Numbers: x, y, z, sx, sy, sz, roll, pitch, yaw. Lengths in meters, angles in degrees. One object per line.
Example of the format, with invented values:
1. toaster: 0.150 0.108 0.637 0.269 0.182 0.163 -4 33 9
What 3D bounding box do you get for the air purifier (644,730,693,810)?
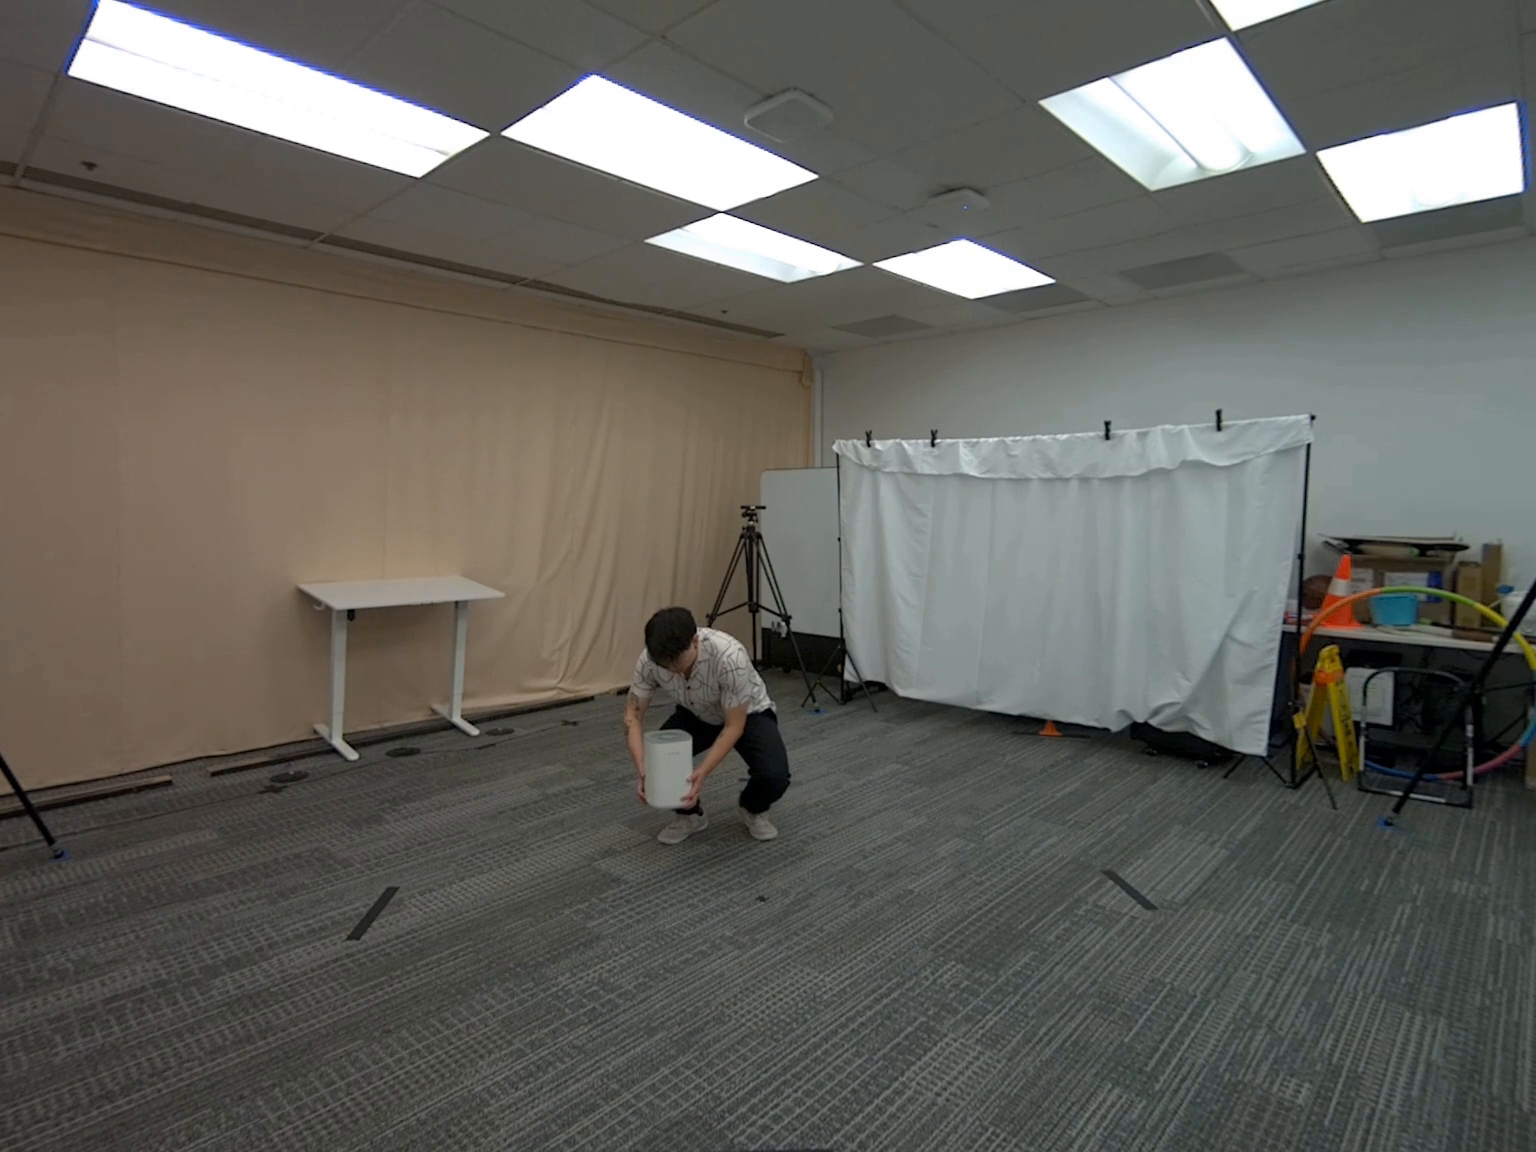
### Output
1. air purifier: -0.381 0.737 3.240 0.168 0.265 0.175 -2 4 -19
